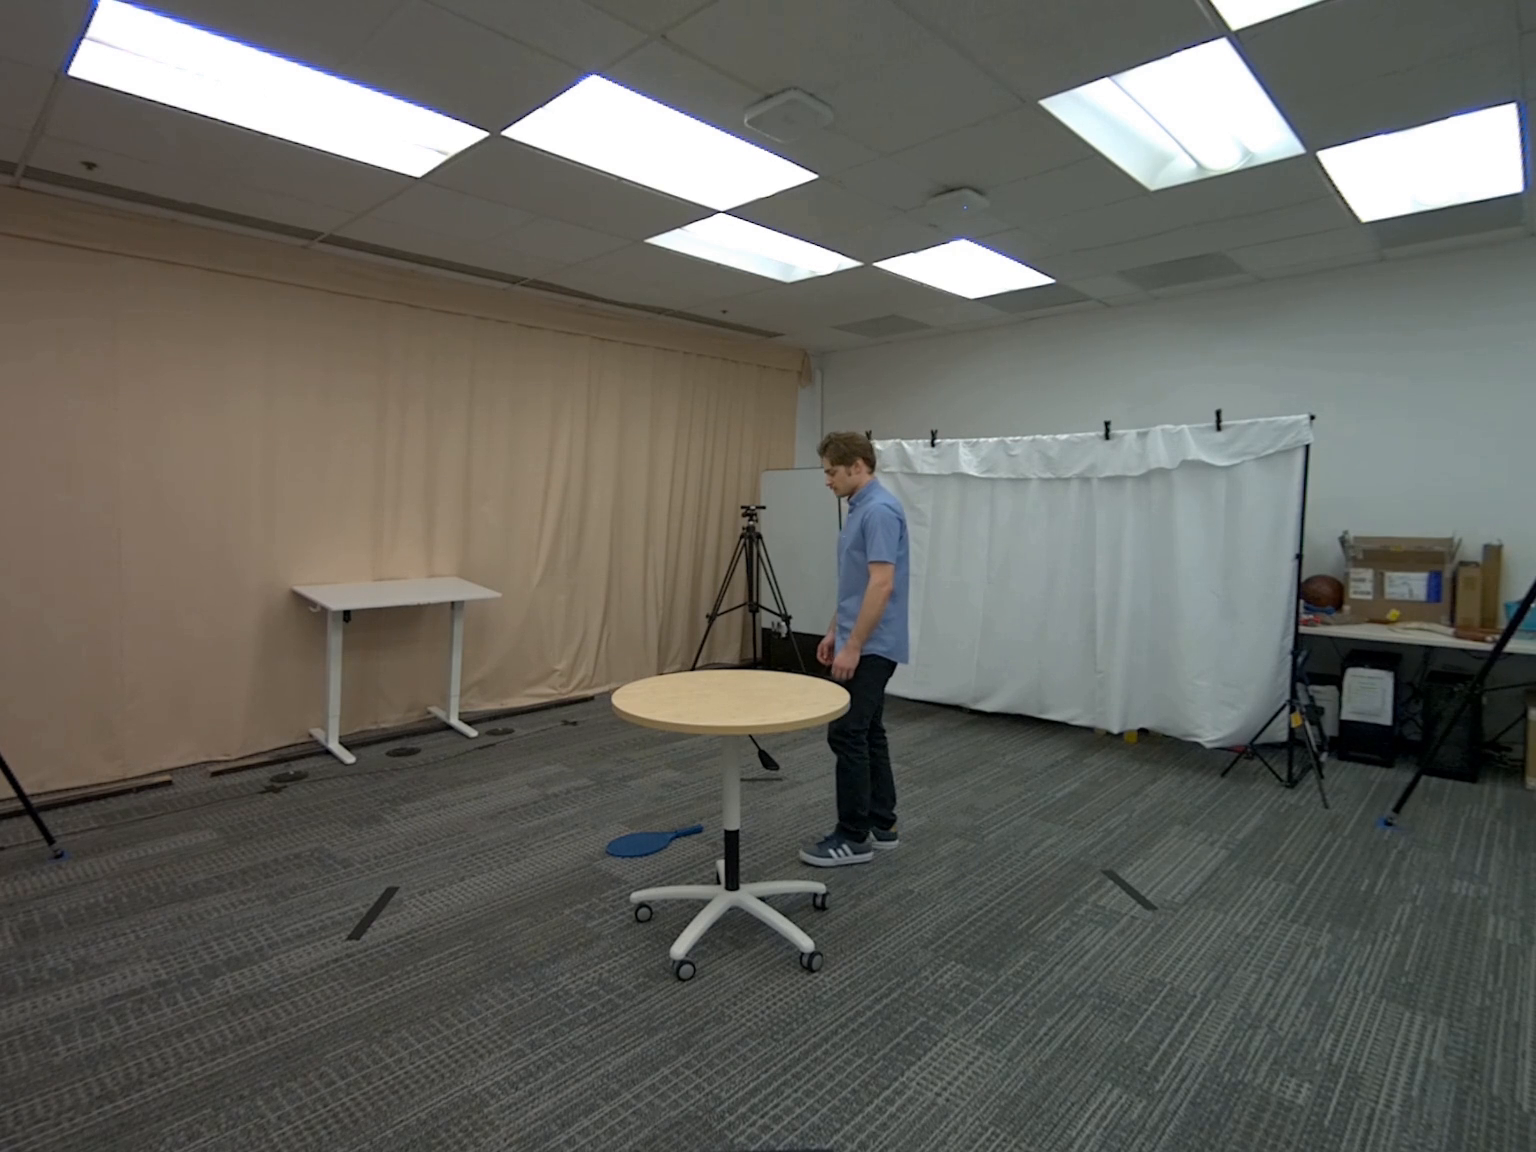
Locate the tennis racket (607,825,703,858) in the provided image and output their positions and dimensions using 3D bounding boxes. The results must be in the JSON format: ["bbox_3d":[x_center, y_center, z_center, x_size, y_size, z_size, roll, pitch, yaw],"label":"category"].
[{"bbox_3d":[-0.471,1.094,3.487,0.421,0.031,0.220,-6,6,-32],"label":"tennis racket"}]
